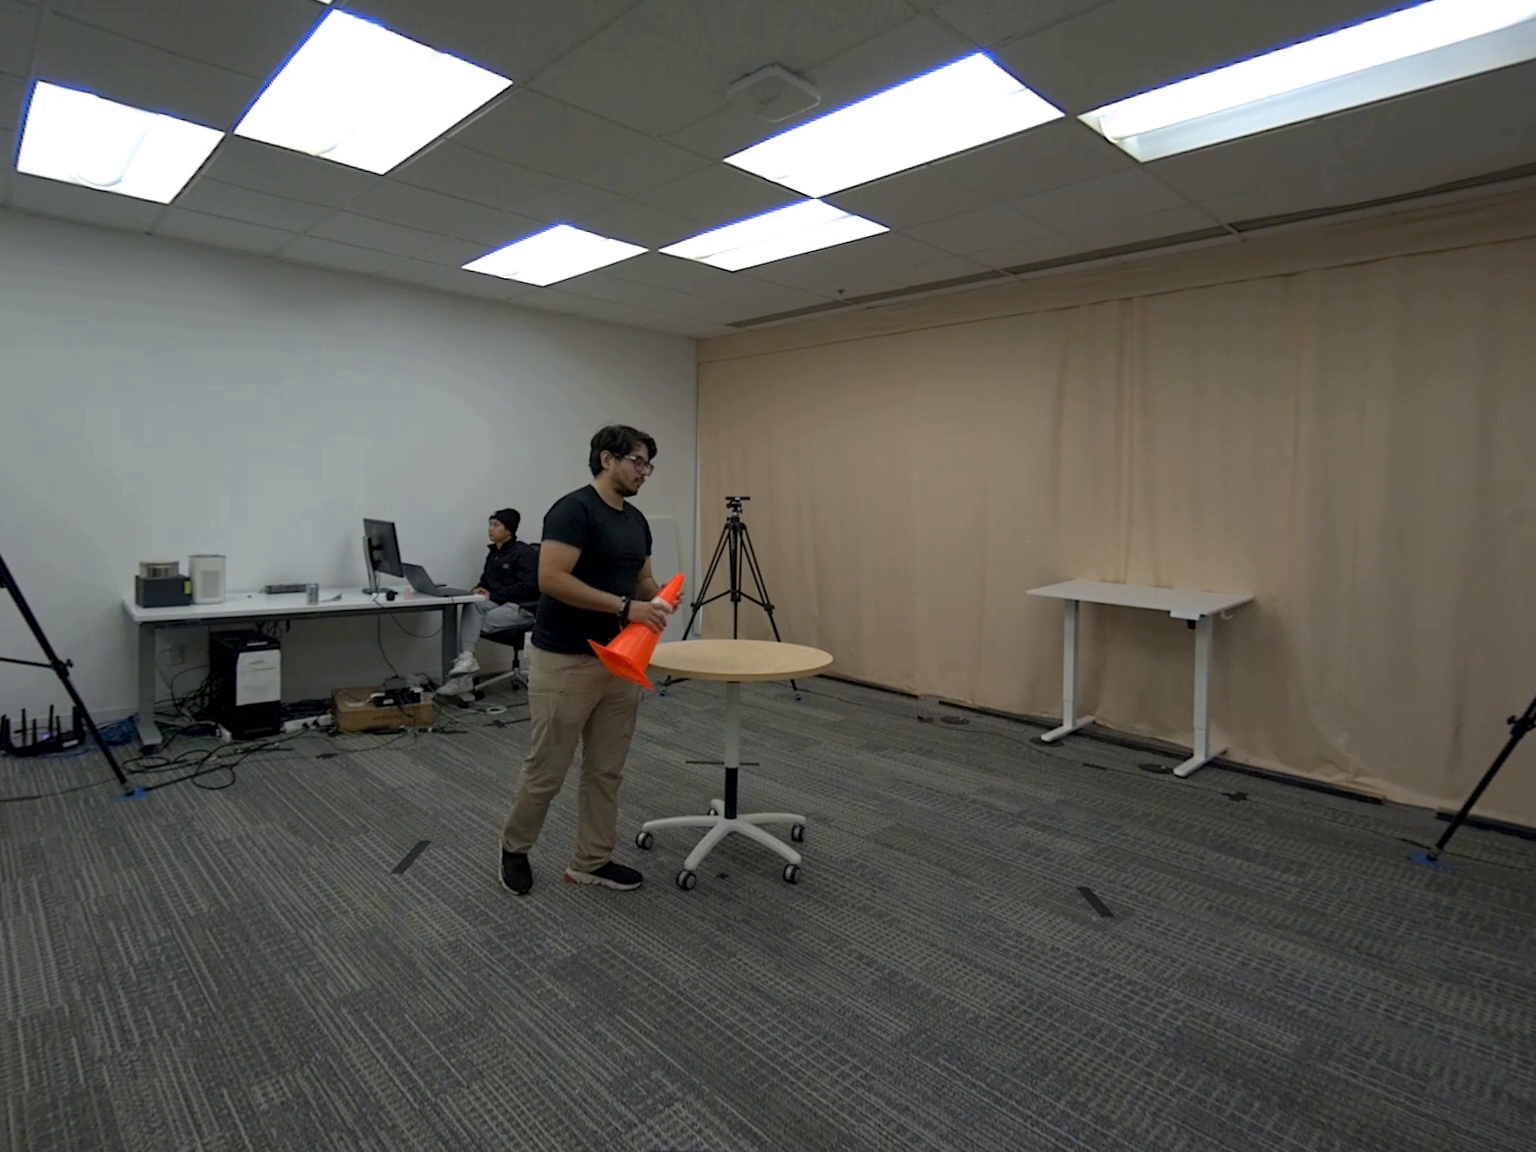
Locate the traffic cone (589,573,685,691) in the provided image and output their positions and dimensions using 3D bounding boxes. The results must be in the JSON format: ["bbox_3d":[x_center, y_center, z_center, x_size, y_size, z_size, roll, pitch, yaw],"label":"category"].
[{"bbox_3d":[-0.399,0.150,2.800,0.210,0.385,0.197,17,-27,30],"label":"traffic cone"}]
